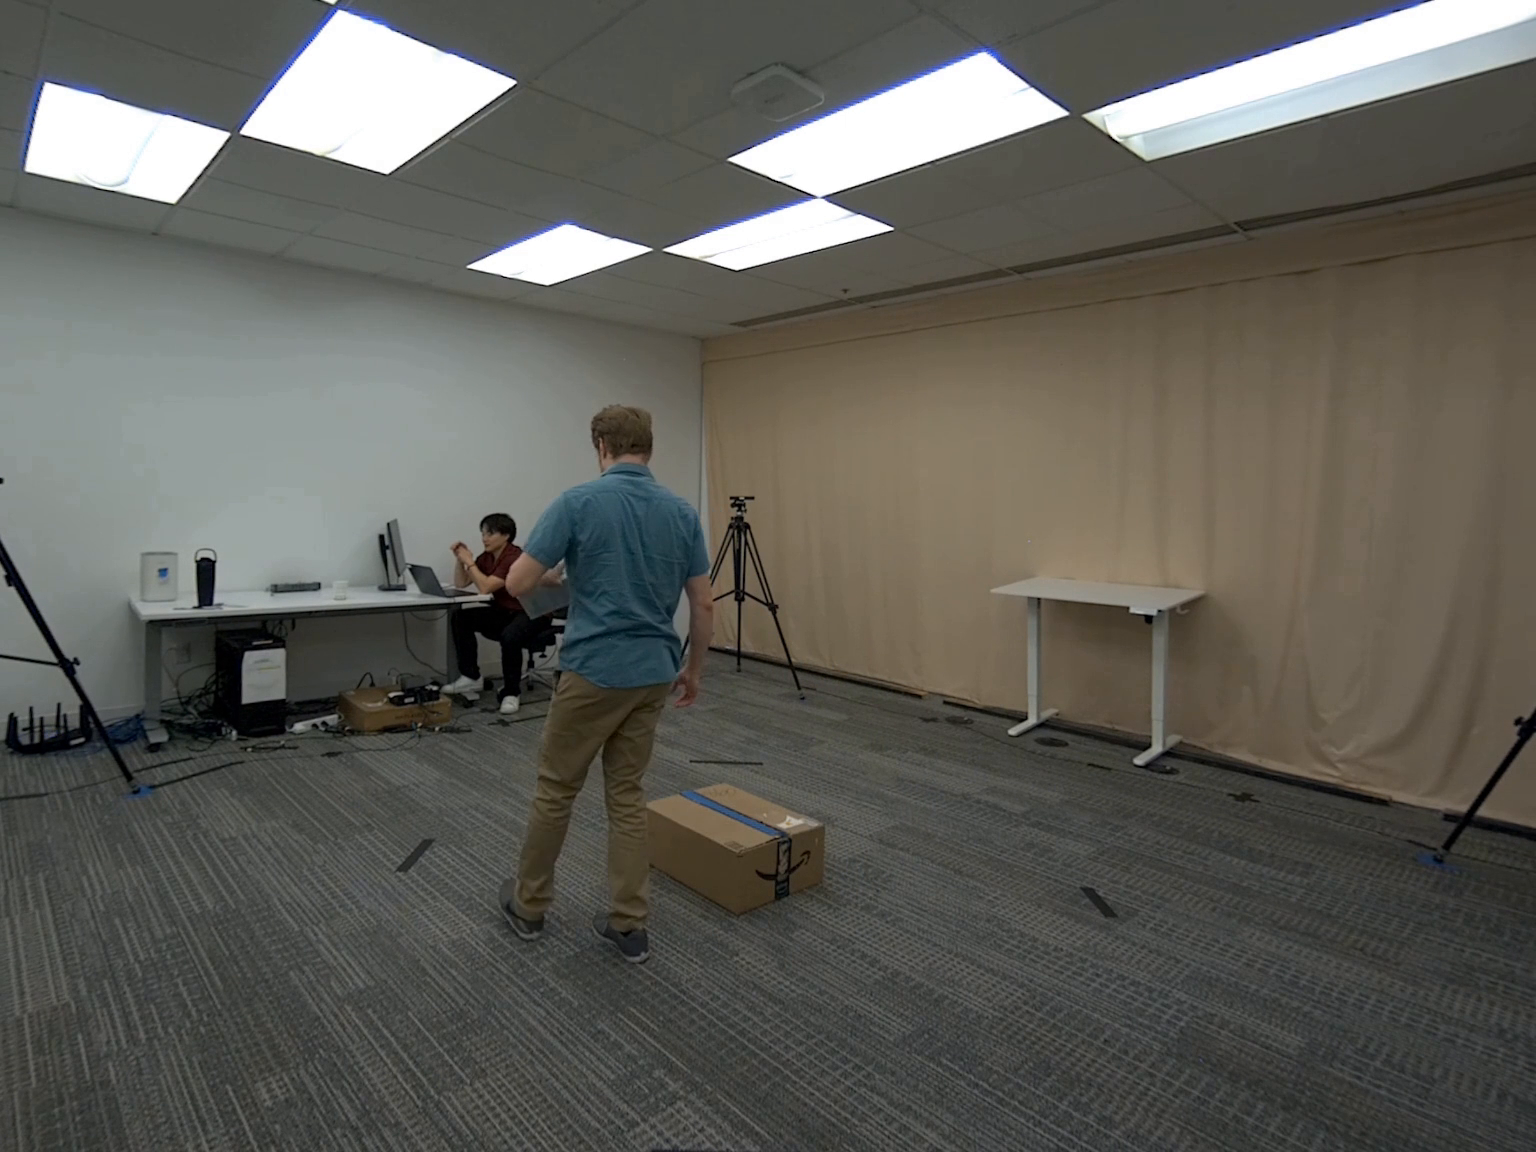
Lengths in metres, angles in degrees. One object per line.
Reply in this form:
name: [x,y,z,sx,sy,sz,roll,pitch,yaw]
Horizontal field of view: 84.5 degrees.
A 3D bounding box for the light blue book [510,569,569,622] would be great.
light blue book: [-0.713,0.043,2.840,0.260,0.060,0.187,-22,-24,-6]
